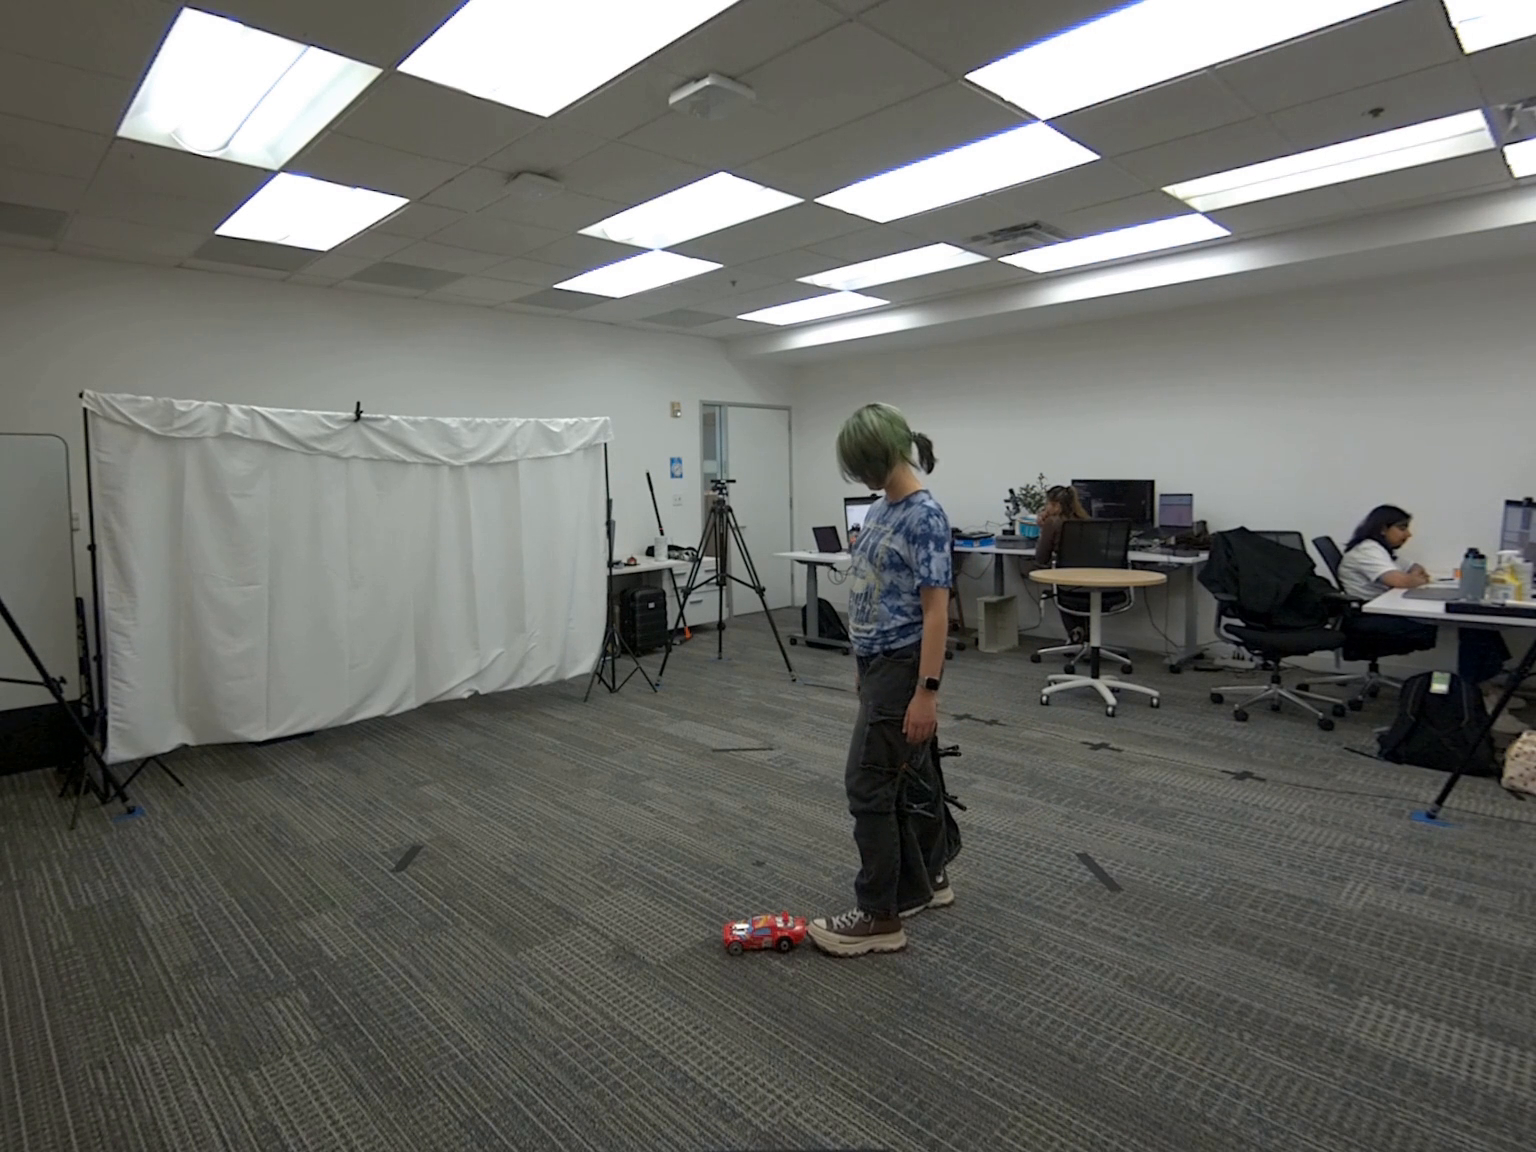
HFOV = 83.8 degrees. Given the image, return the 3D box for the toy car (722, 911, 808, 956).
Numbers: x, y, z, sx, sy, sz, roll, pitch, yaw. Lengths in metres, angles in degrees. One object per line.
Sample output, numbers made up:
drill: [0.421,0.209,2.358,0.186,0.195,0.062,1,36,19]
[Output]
toy car: [0.001,1.080,2.559,0.254,0.083,0.131,-14,5,0]
